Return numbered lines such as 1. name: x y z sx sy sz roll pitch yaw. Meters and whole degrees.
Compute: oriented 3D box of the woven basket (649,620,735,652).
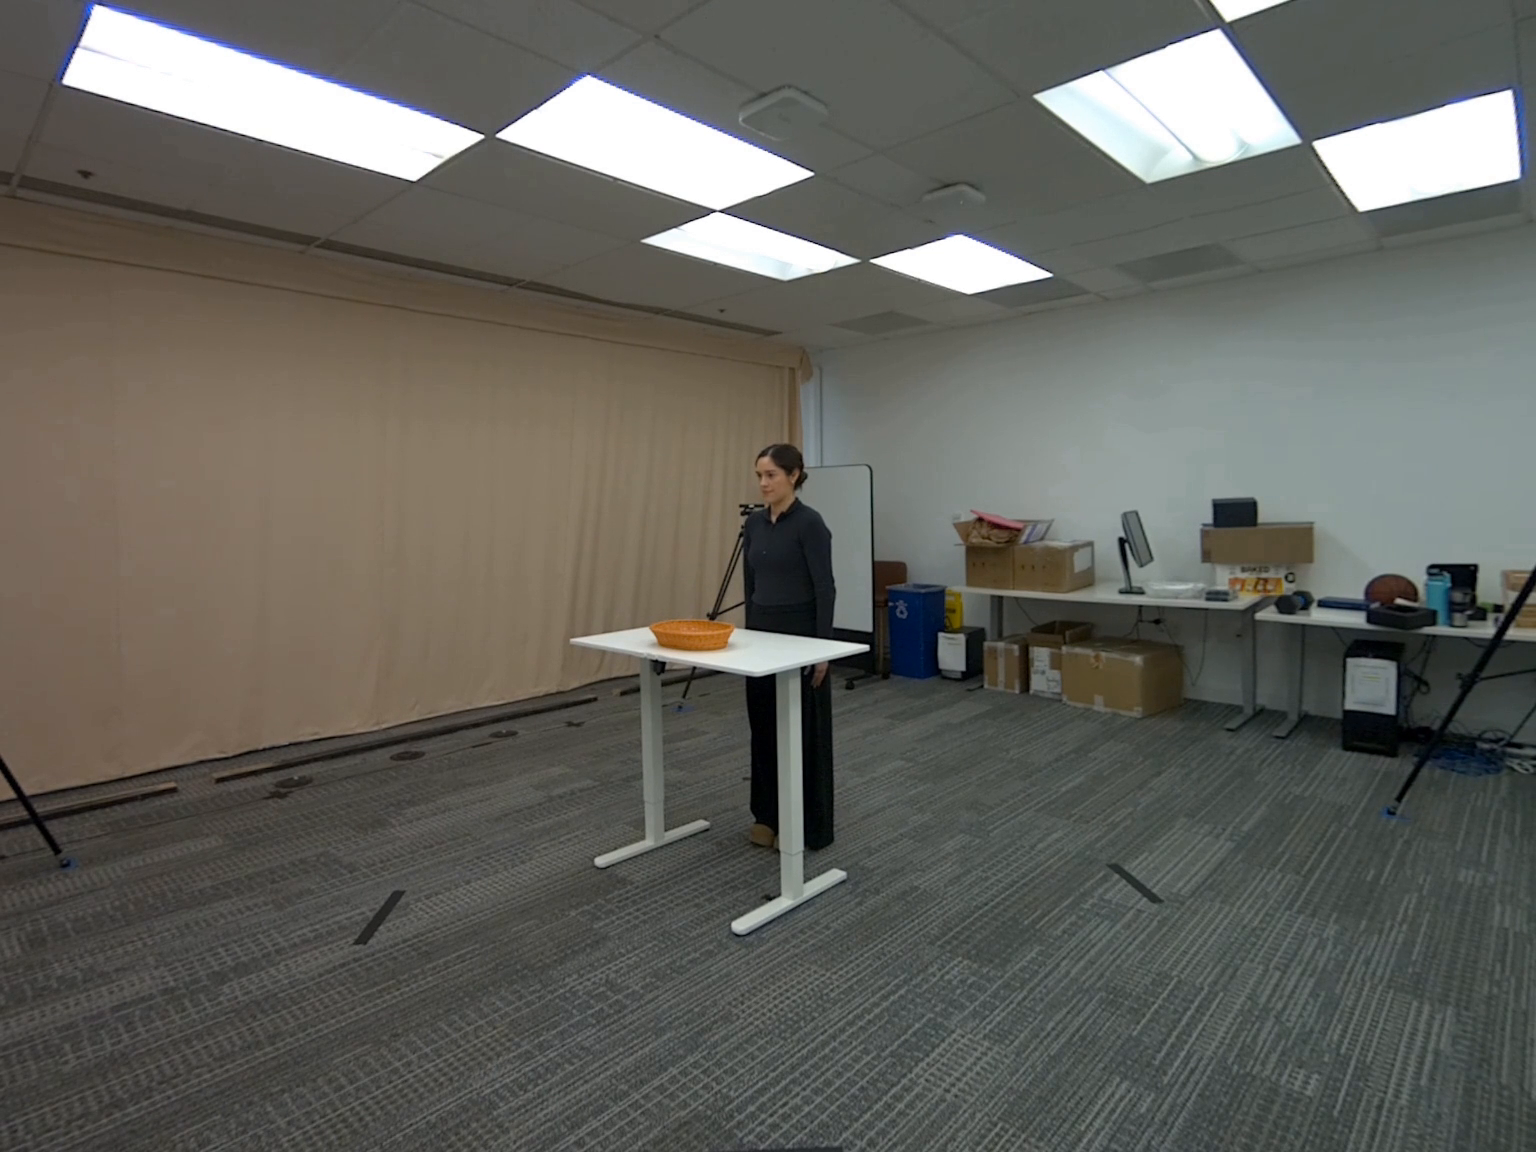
1. woven basket: -0.285 0.225 3.089 0.245 0.073 0.362 -8 8 -44
